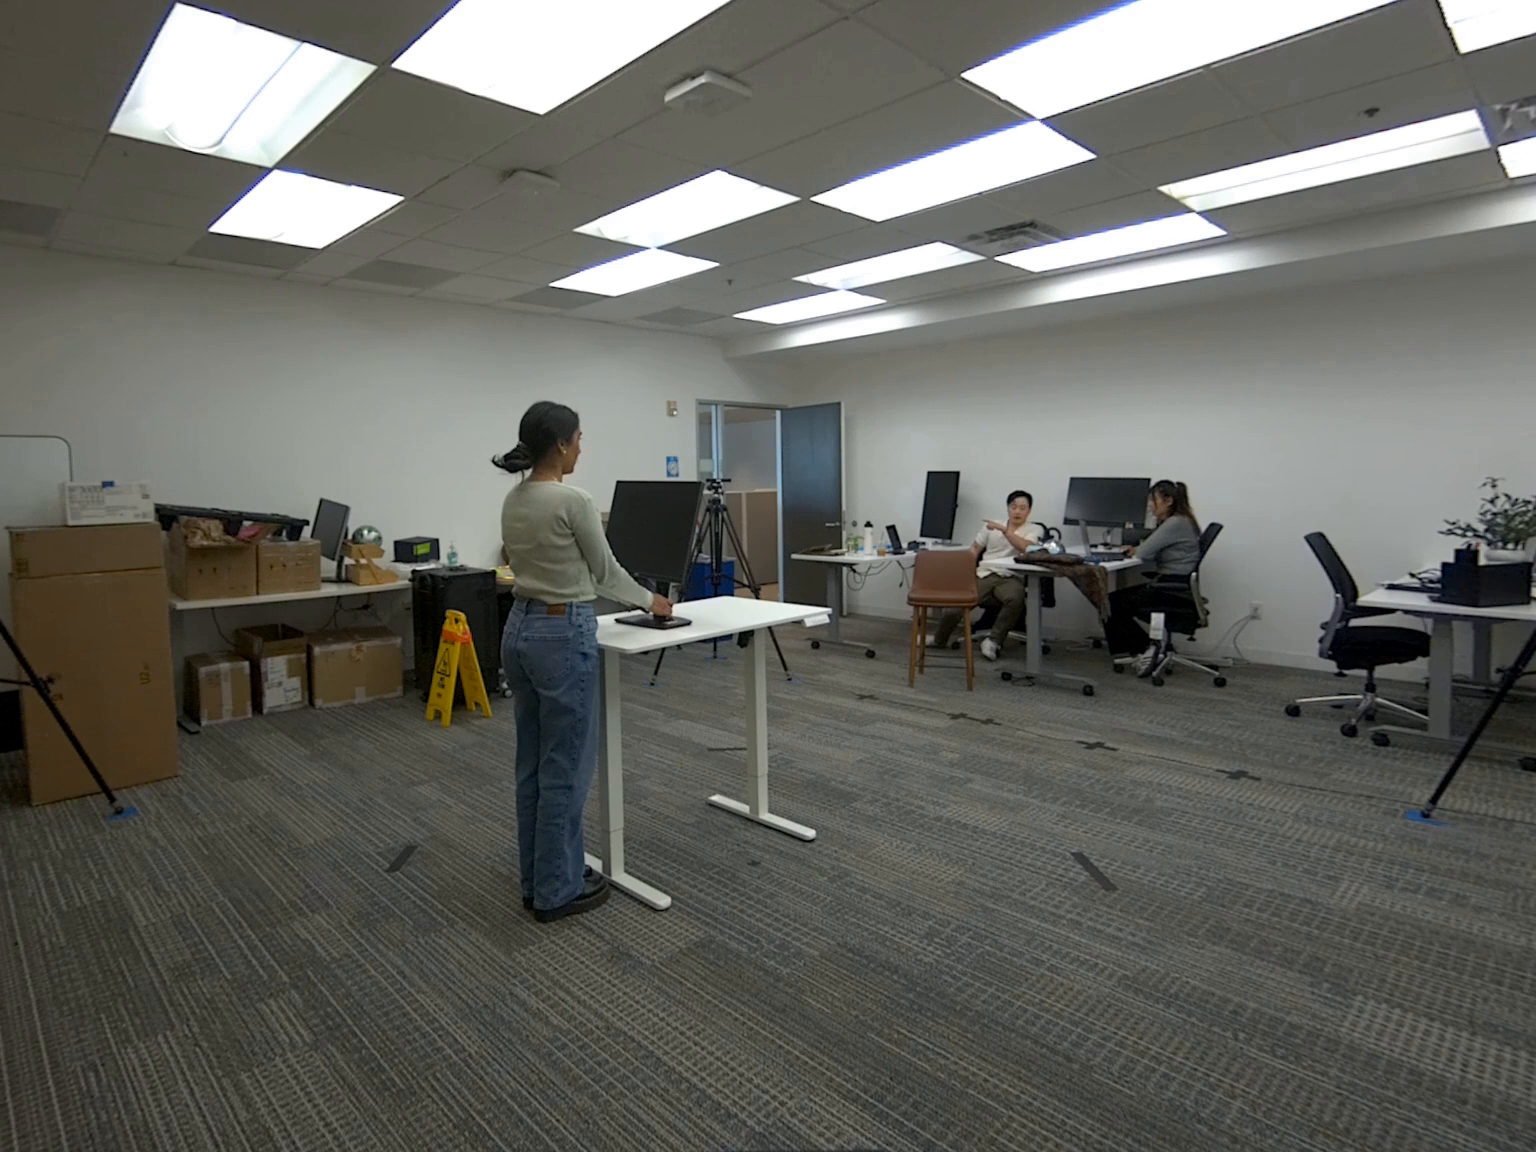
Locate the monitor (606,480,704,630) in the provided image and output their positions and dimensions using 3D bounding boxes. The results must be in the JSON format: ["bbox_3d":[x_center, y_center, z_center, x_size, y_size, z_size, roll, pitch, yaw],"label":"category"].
[{"bbox_3d":[-0.406,-0.082,3.092,0.182,0.521,0.556,-3,5,-43],"label":"monitor"}]
